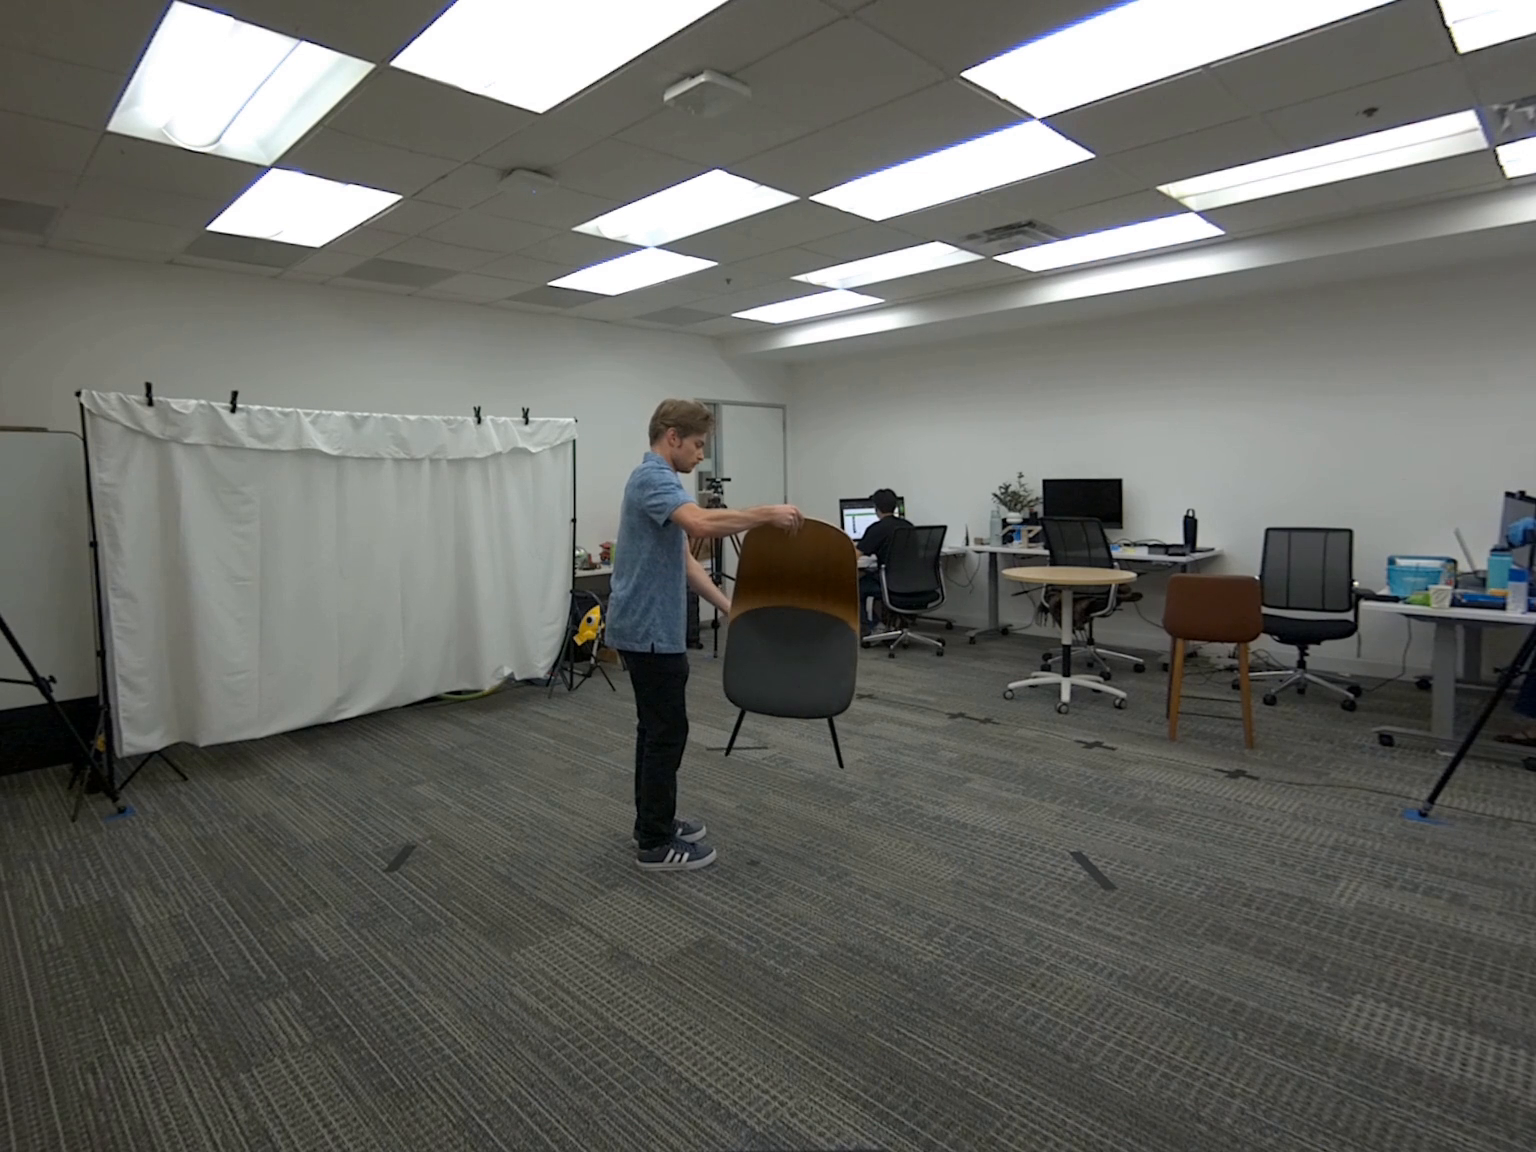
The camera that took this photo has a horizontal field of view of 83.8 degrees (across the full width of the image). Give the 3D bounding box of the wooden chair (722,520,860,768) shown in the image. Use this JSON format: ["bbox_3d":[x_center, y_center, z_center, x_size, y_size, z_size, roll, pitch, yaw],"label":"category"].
[{"bbox_3d":[0.087,0.285,3.055,0.480,0.854,0.535,5,48,3],"label":"wooden chair"}]
